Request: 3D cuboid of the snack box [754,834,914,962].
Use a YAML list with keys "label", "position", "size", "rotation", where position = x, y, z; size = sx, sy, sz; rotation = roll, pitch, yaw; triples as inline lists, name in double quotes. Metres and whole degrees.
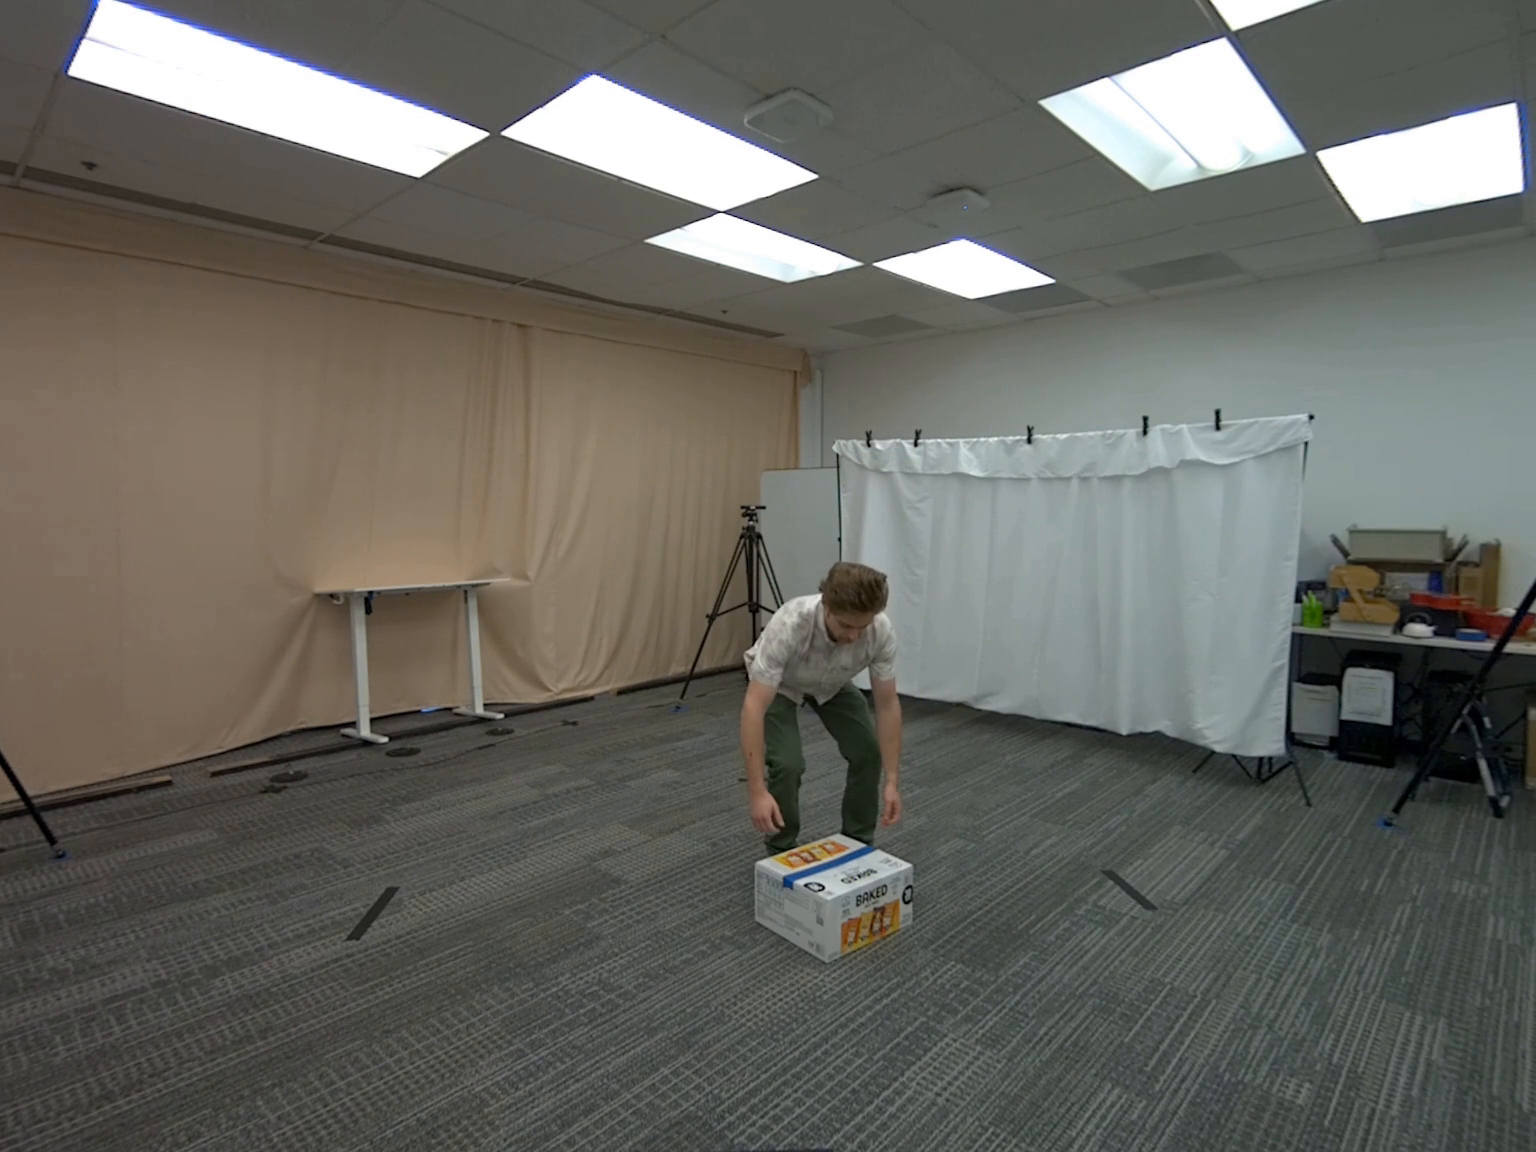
- label: "snack box"
  position: [0.223, 1.059, 2.799]
  size: [0.393, 0.205, 0.351]
  rotation: [-4, 5, -39]
